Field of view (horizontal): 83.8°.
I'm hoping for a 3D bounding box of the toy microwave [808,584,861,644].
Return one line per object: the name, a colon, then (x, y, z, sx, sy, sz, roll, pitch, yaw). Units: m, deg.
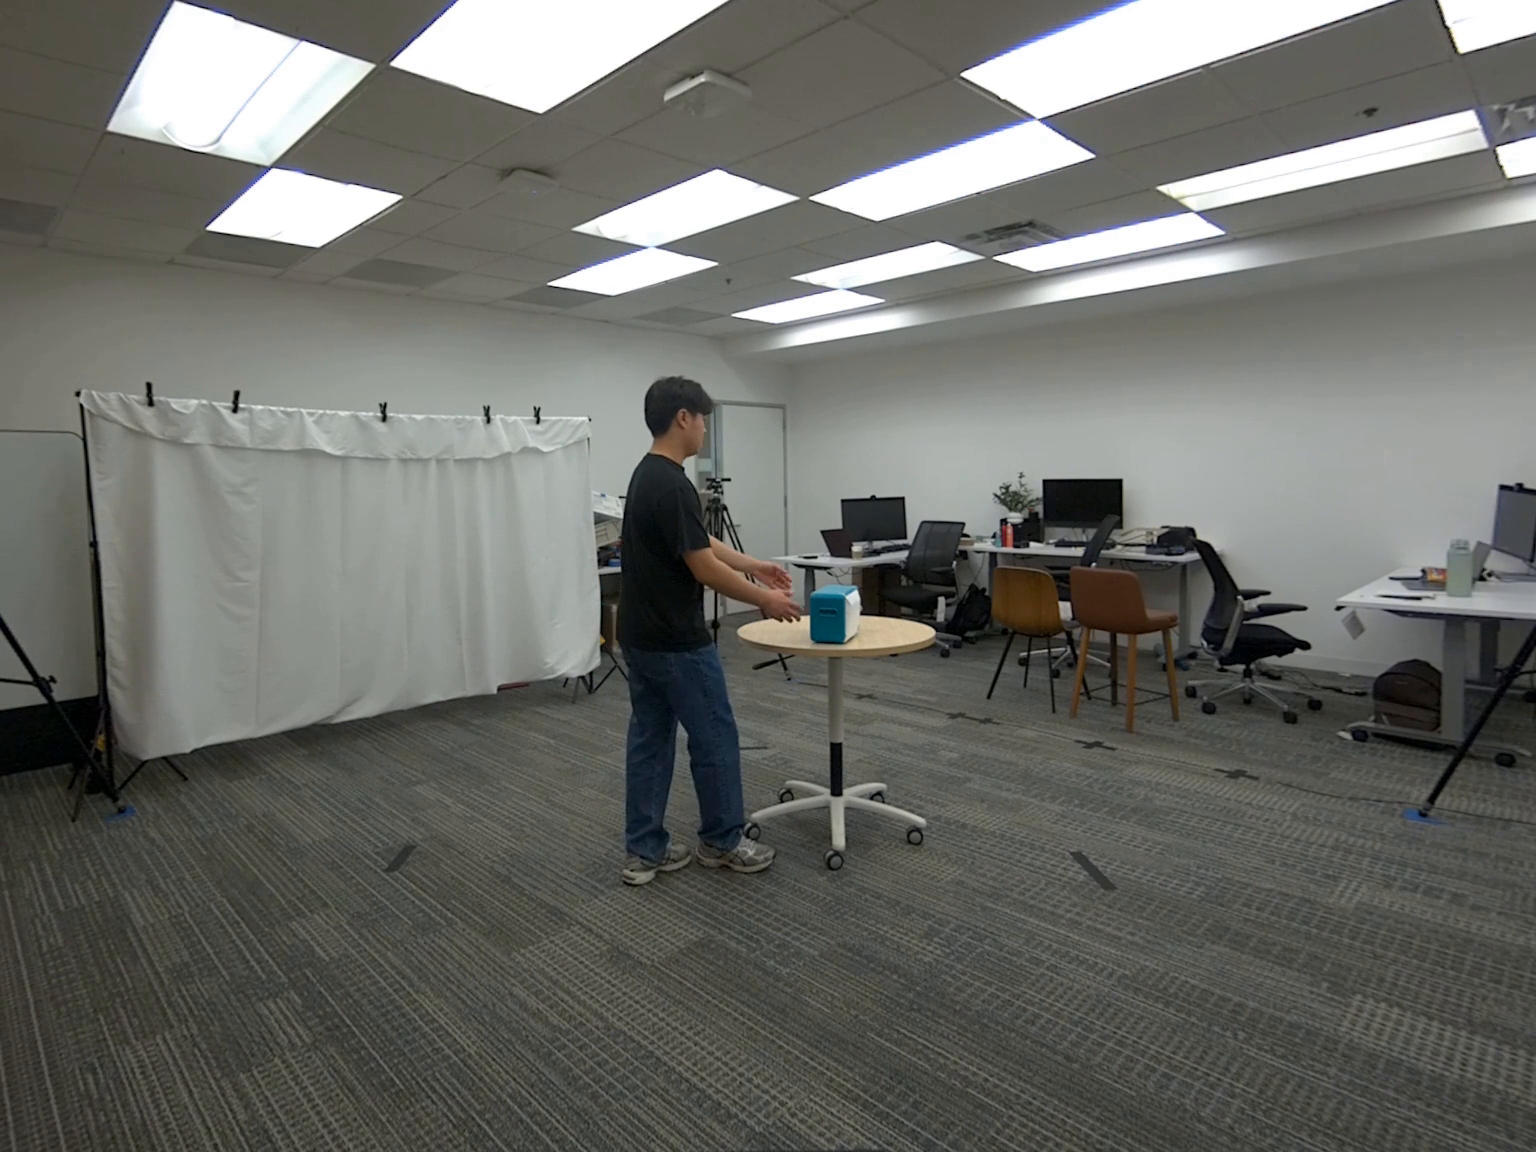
toy microwave: (0.259, 0.137, 3.174, 0.155, 0.183, 0.283, -1, 6, 16)
